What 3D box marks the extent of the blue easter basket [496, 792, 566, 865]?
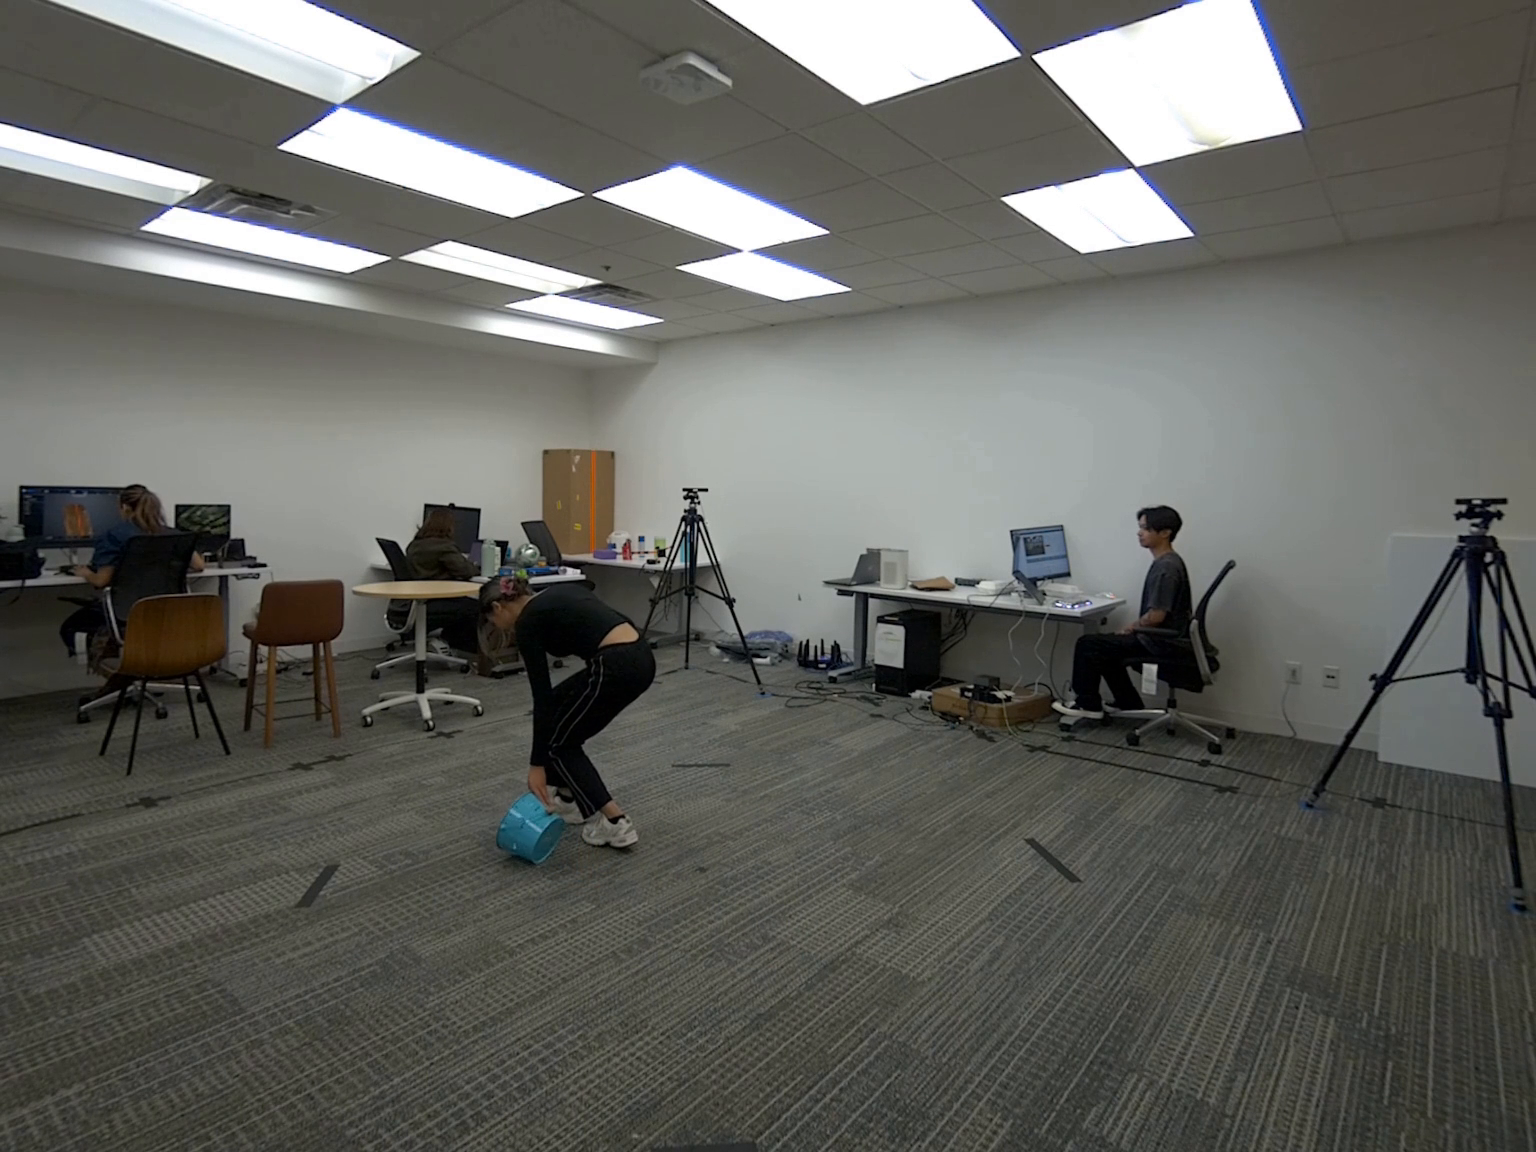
[{"bbox_3d":[-0.894,0.943,3.162,0.160,0.242,0.238,22,12,21],"label":"blue easter basket"}]
